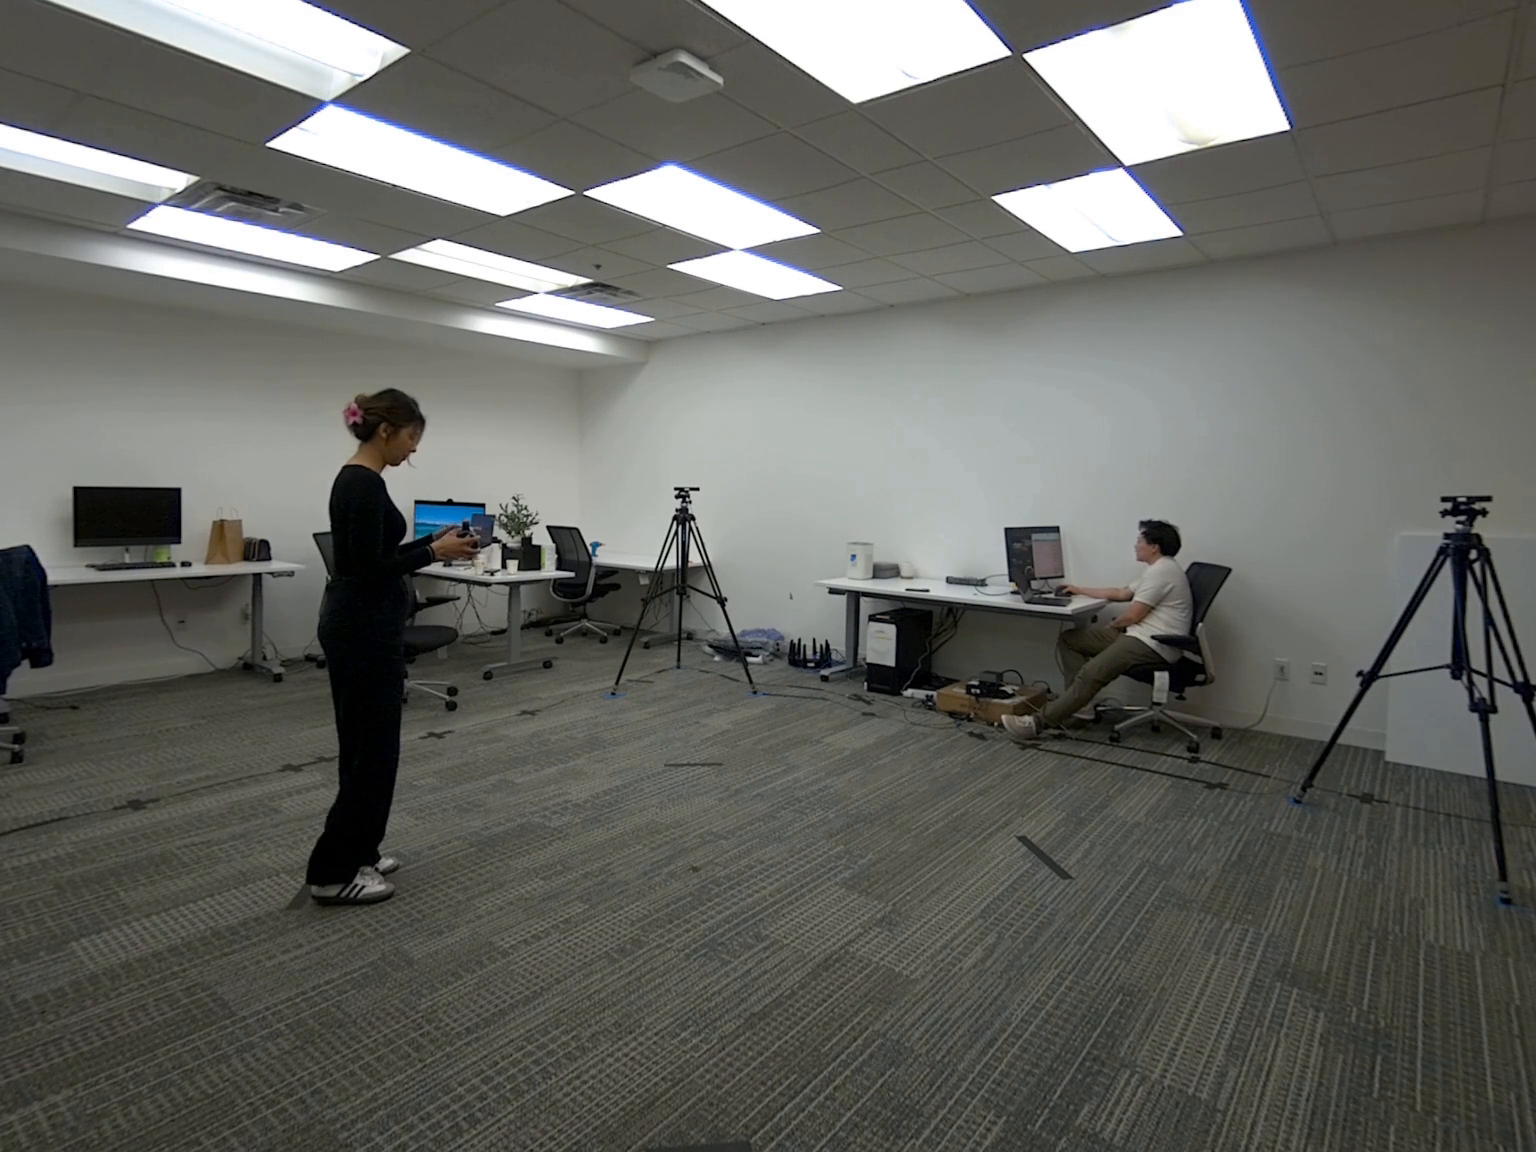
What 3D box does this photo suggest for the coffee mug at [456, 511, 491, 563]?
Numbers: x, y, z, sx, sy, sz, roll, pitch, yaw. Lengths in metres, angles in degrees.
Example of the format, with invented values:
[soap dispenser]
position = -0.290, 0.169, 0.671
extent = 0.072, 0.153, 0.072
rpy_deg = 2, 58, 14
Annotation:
[coffee mug]
position = -1.073, -0.145, 3.009
extent = 0.085, 0.122, 0.209
rpy_deg = 30, 0, -25
